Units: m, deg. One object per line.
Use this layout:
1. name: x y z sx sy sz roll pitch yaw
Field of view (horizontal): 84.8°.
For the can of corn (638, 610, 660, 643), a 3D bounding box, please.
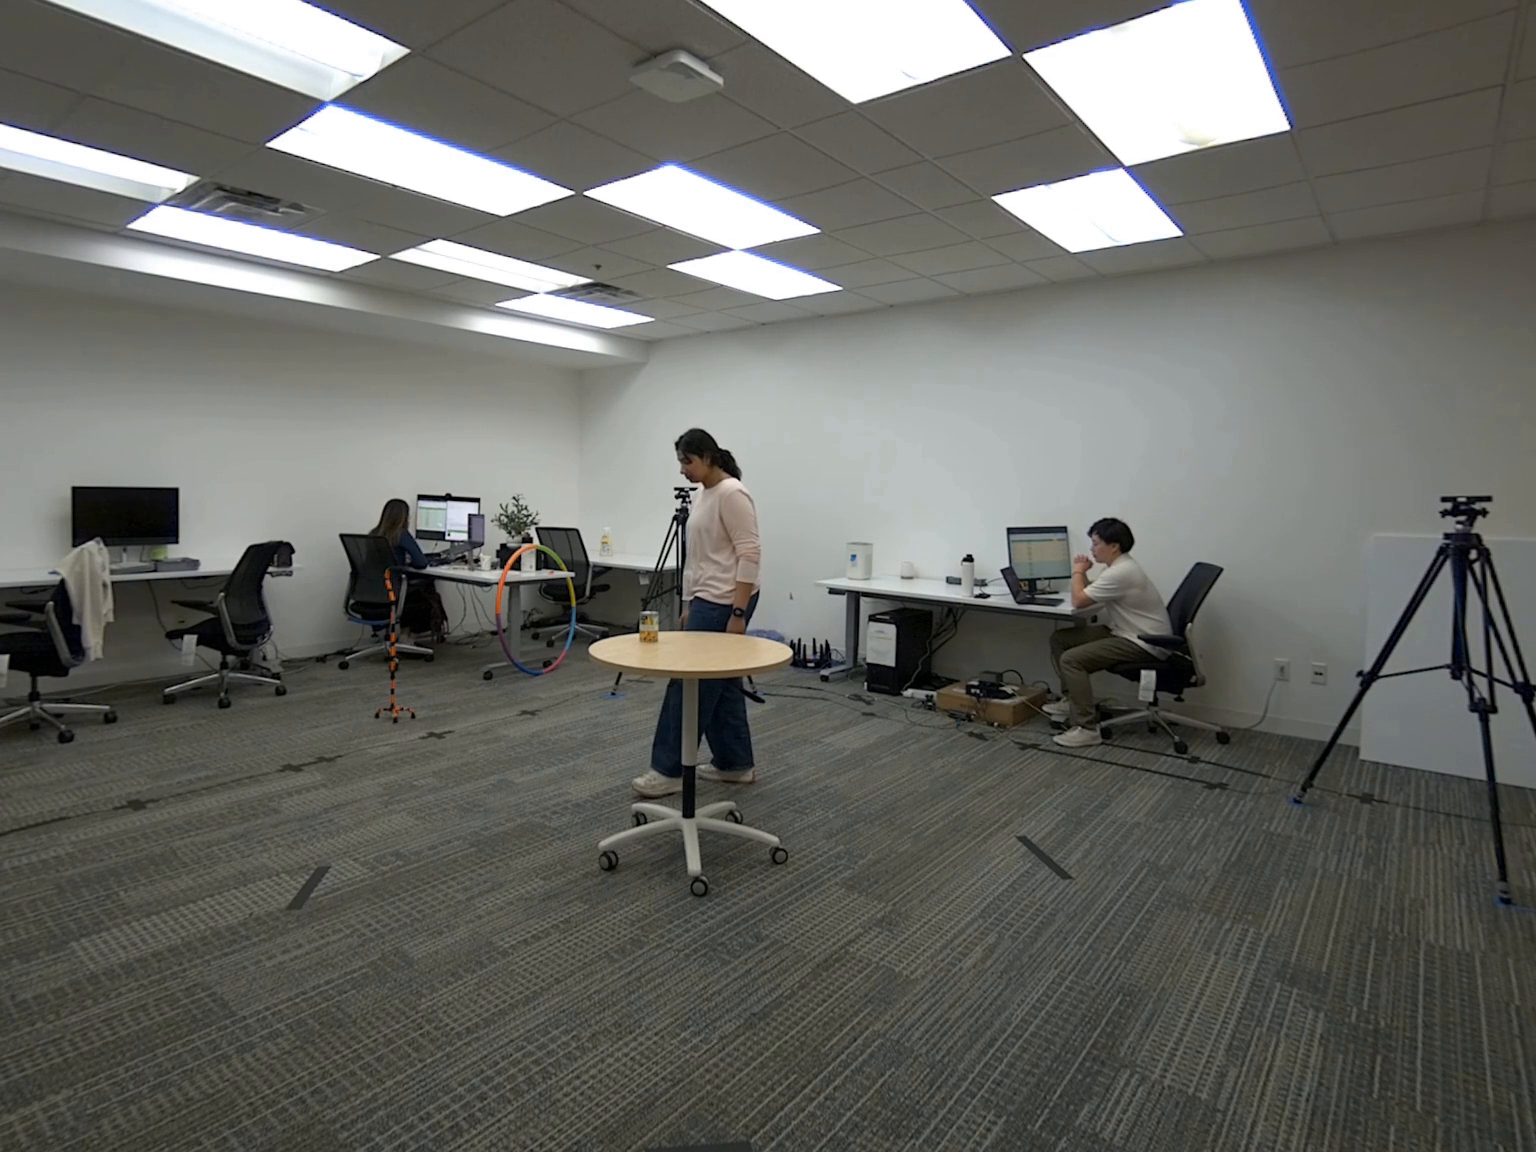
1. can of corn: -0.484 0.197 3.351 0.074 0.111 0.074 2 3 -2
